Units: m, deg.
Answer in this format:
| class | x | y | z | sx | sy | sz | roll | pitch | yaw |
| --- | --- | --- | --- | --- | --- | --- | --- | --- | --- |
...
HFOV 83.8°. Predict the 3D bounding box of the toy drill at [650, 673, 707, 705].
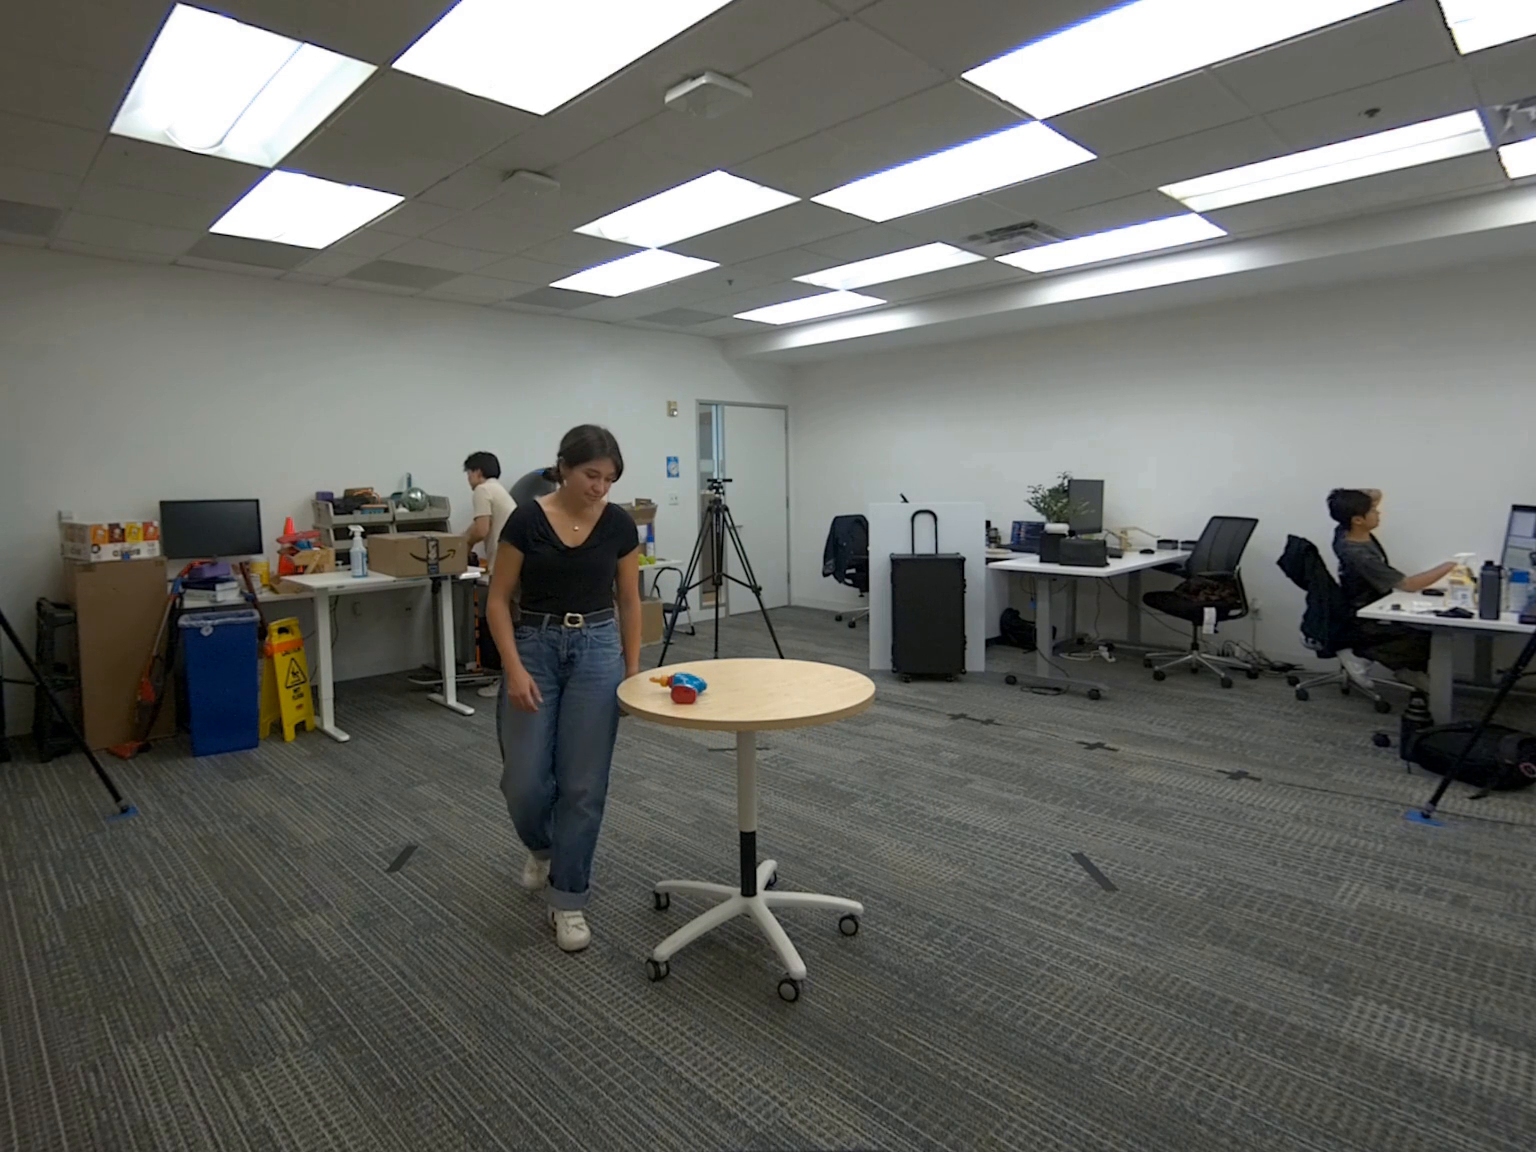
| class | x | y | z | sx | sy | sz | roll | pitch | yaw |
| --- | --- | --- | --- | --- | --- | --- | --- | --- | --- |
| toy drill | -0.260 | 0.313 | 2.412 | 0.171 | 0.061 | 0.146 | 8 | 6 | 5 |
